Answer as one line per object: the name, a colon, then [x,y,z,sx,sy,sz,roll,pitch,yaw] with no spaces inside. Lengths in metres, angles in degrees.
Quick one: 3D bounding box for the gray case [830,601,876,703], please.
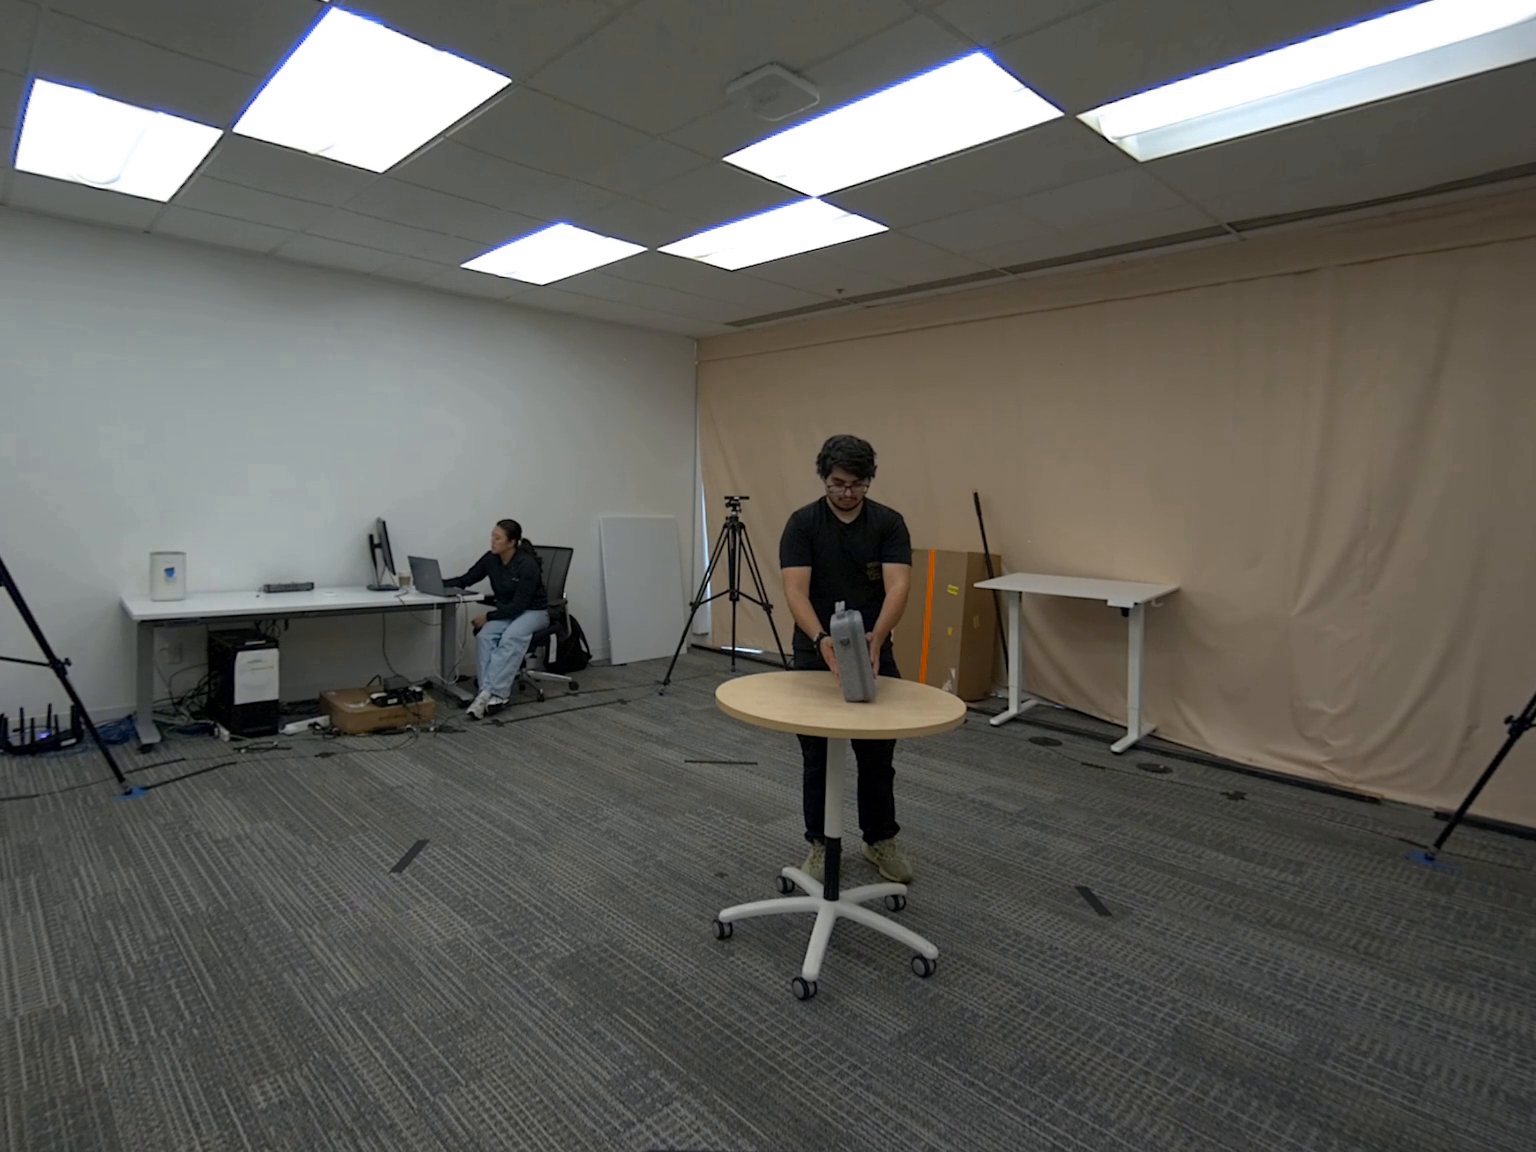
gray case: [0.249,0.241,2.632,0.105,0.260,0.256,-6,2,6]
